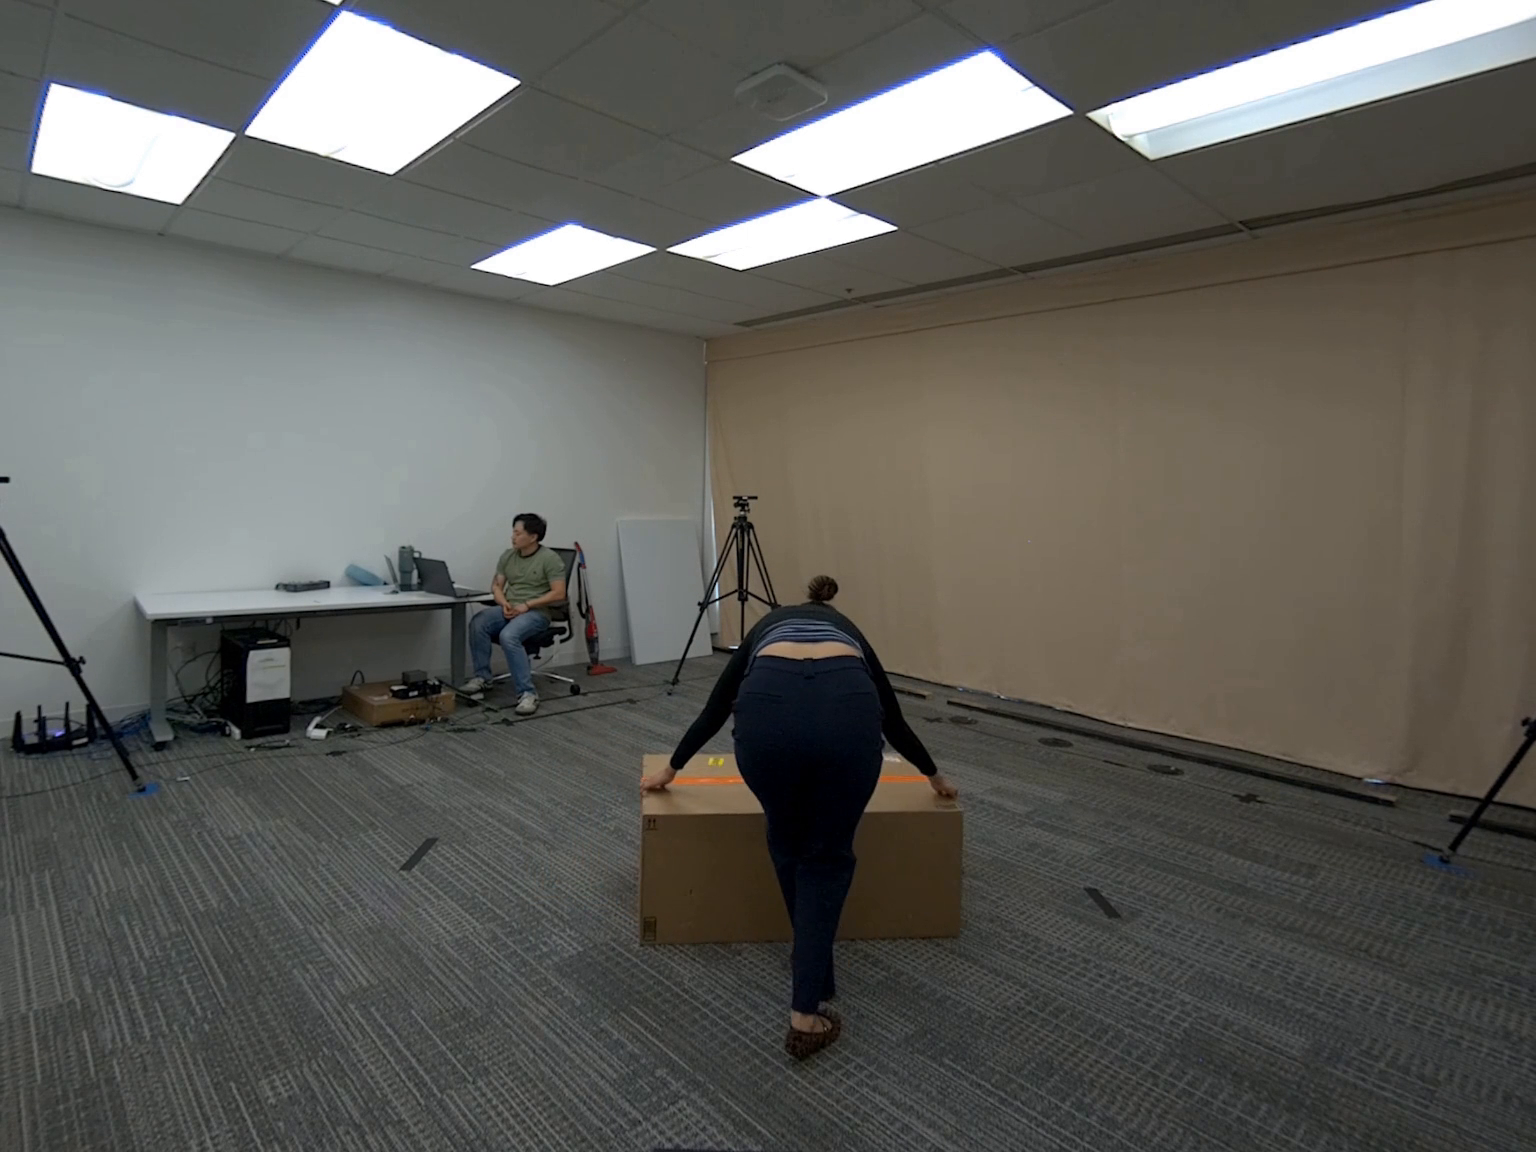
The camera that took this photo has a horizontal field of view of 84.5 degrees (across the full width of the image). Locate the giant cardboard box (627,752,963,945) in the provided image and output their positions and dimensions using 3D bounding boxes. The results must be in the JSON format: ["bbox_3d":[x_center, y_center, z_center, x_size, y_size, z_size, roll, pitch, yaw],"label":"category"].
[{"bbox_3d":[0.068,0.908,2.912,1.021,0.425,0.582,1,5,-6],"label":"giant cardboard box"}]
